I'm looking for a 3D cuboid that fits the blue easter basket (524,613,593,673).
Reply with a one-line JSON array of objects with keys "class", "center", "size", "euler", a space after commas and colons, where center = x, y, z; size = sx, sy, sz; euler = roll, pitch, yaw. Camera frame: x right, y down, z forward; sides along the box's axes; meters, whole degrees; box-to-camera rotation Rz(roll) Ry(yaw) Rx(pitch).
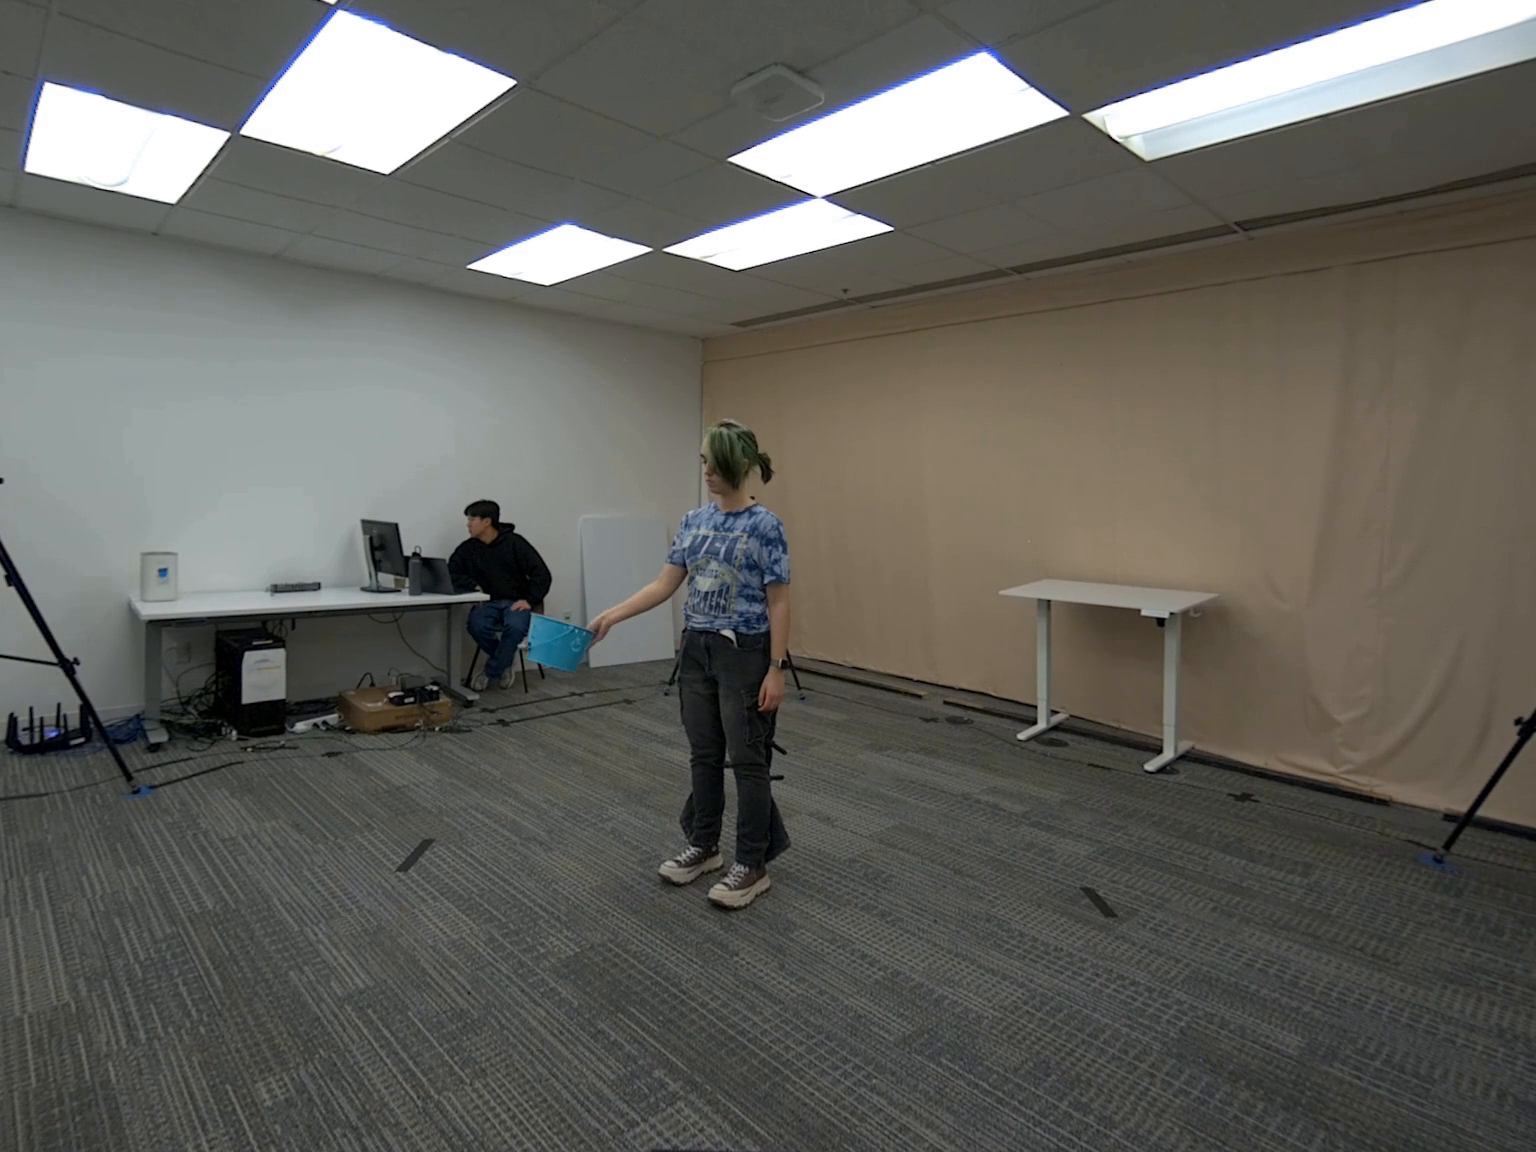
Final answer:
[{"class": "blue easter basket", "center": [-0.735, 0.234, 2.902], "size": [0.244, 0.156, 0.242], "euler": [17, -9, 1]}]
